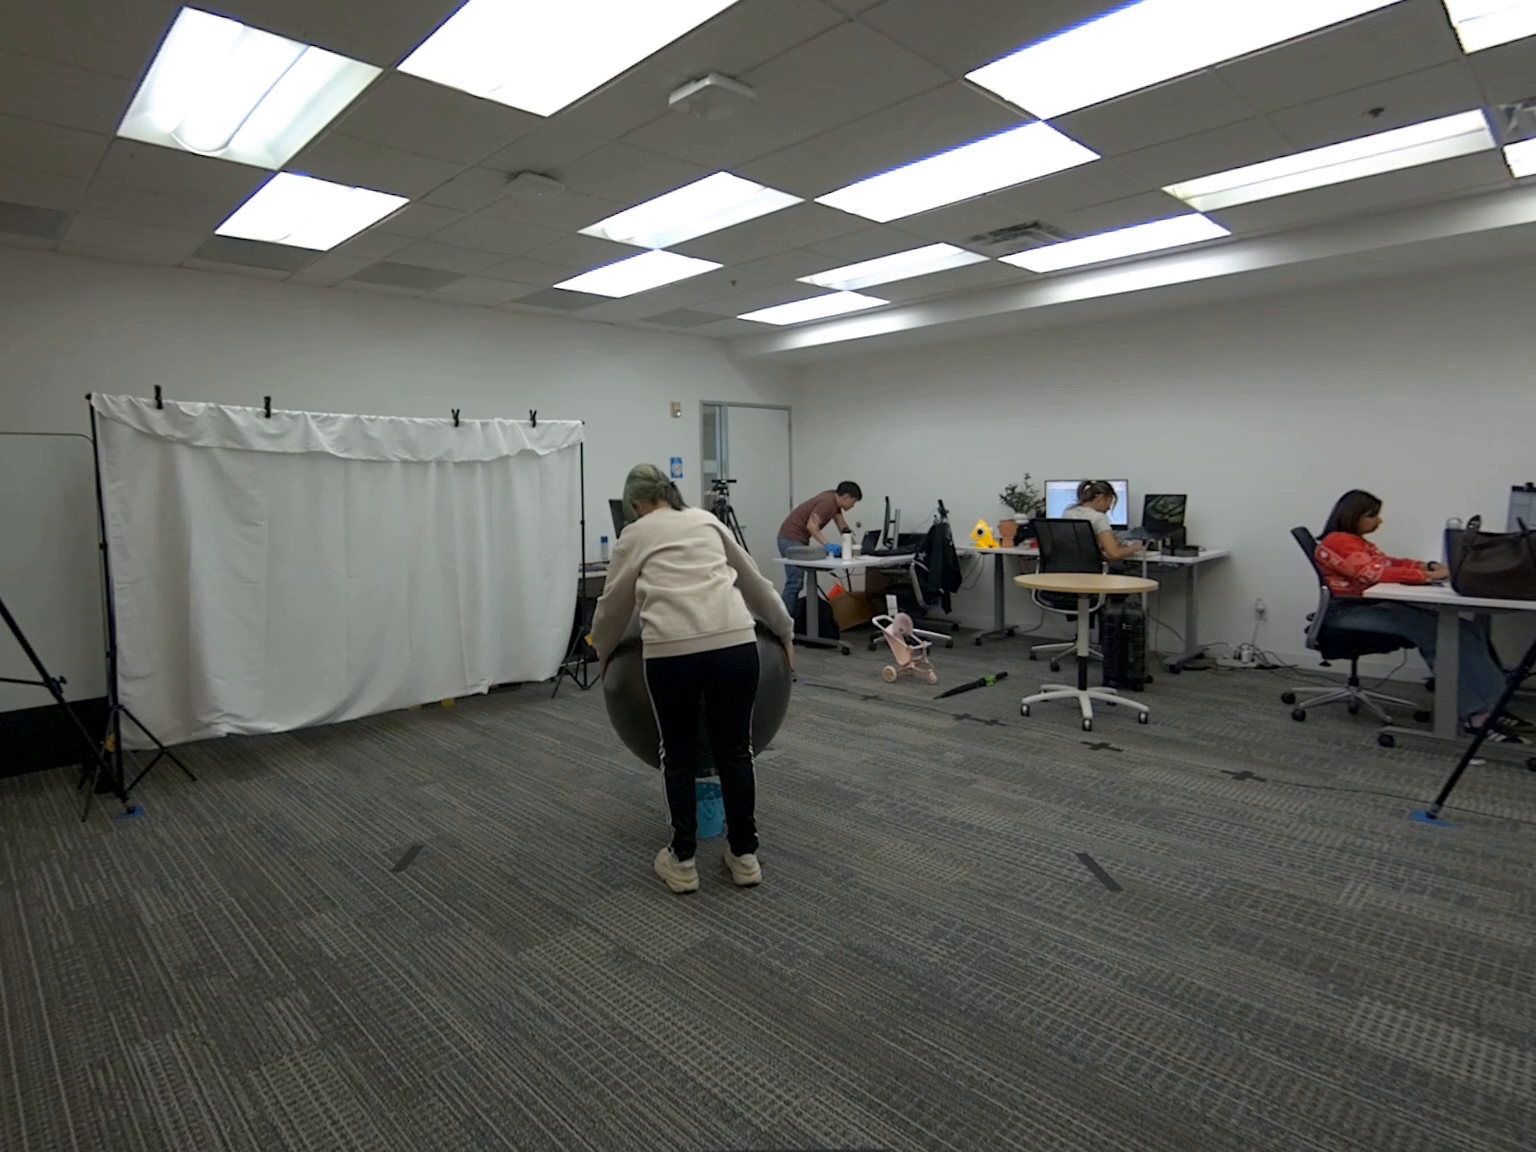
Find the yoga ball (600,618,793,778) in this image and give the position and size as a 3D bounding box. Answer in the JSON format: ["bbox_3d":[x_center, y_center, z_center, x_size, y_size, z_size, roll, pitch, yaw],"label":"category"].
[{"bbox_3d":[-0.284,0.425,3.450,0.757,0.755,0.762,-1,5,-2],"label":"yoga ball"}]
